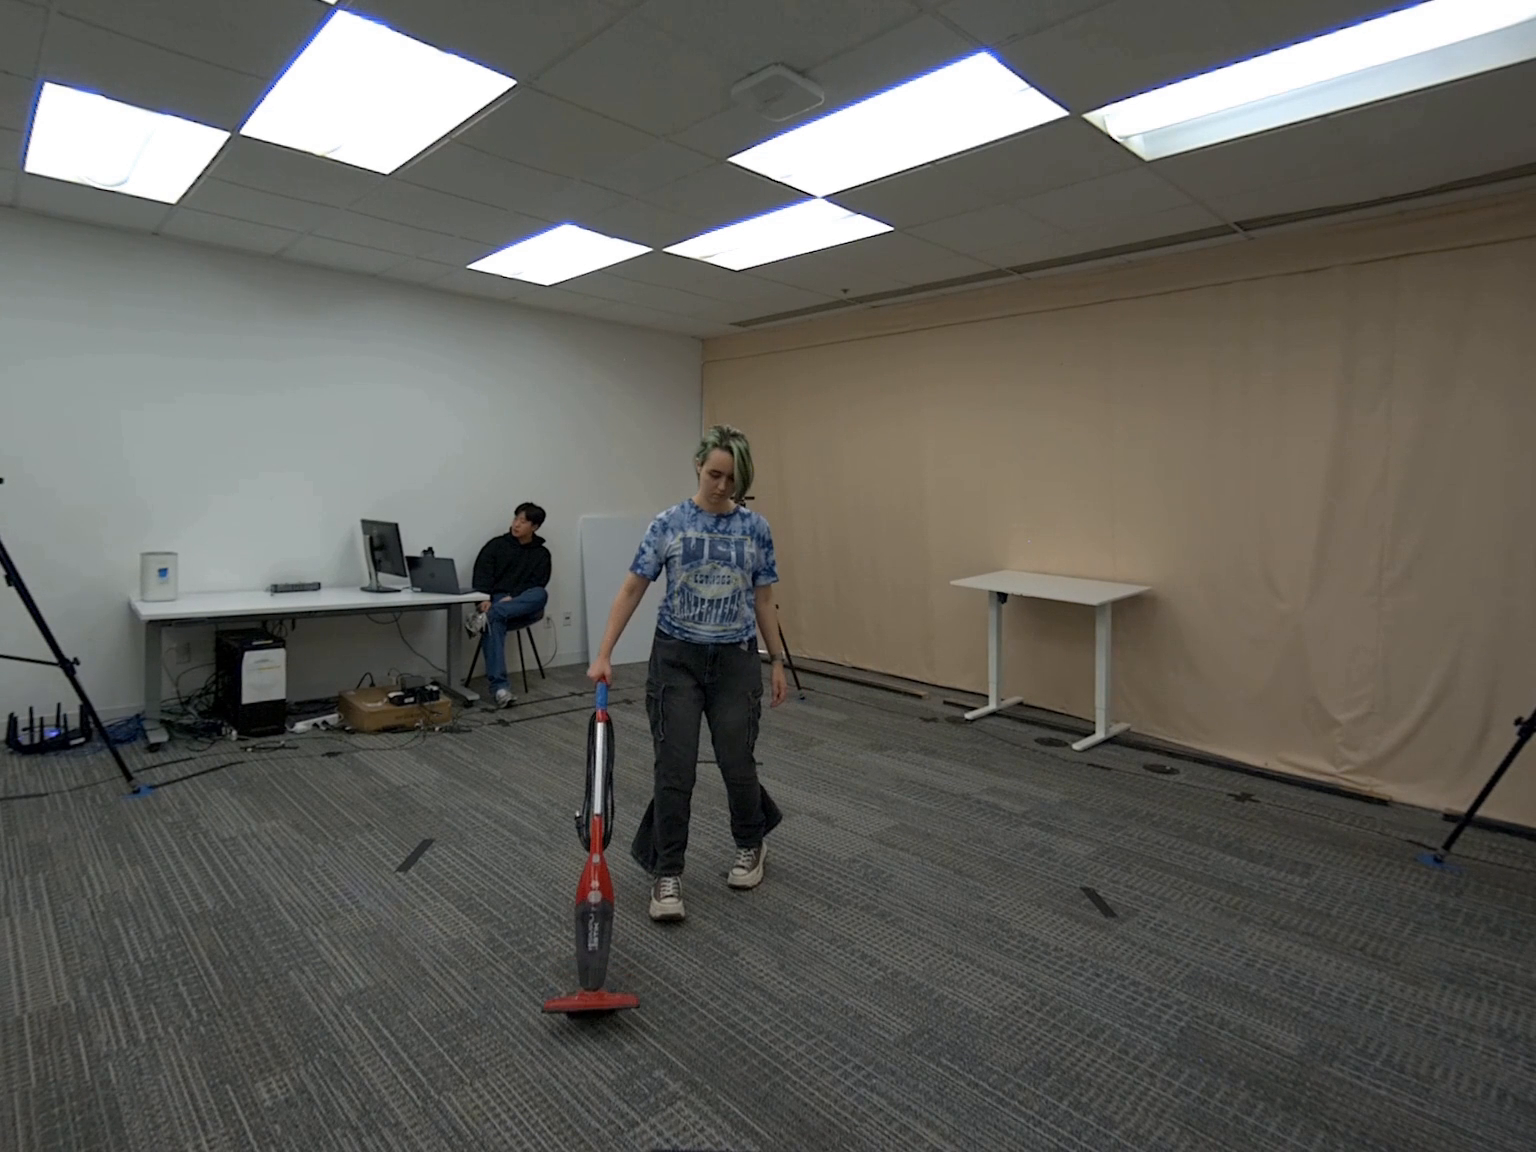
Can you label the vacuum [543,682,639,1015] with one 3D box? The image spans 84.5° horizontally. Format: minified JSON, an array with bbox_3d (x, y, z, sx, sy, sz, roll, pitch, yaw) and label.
[{"bbox_3d":[-0.518,0.743,2.538,0.250,1.075,0.142,2,-40,-11],"label":"vacuum"}]
